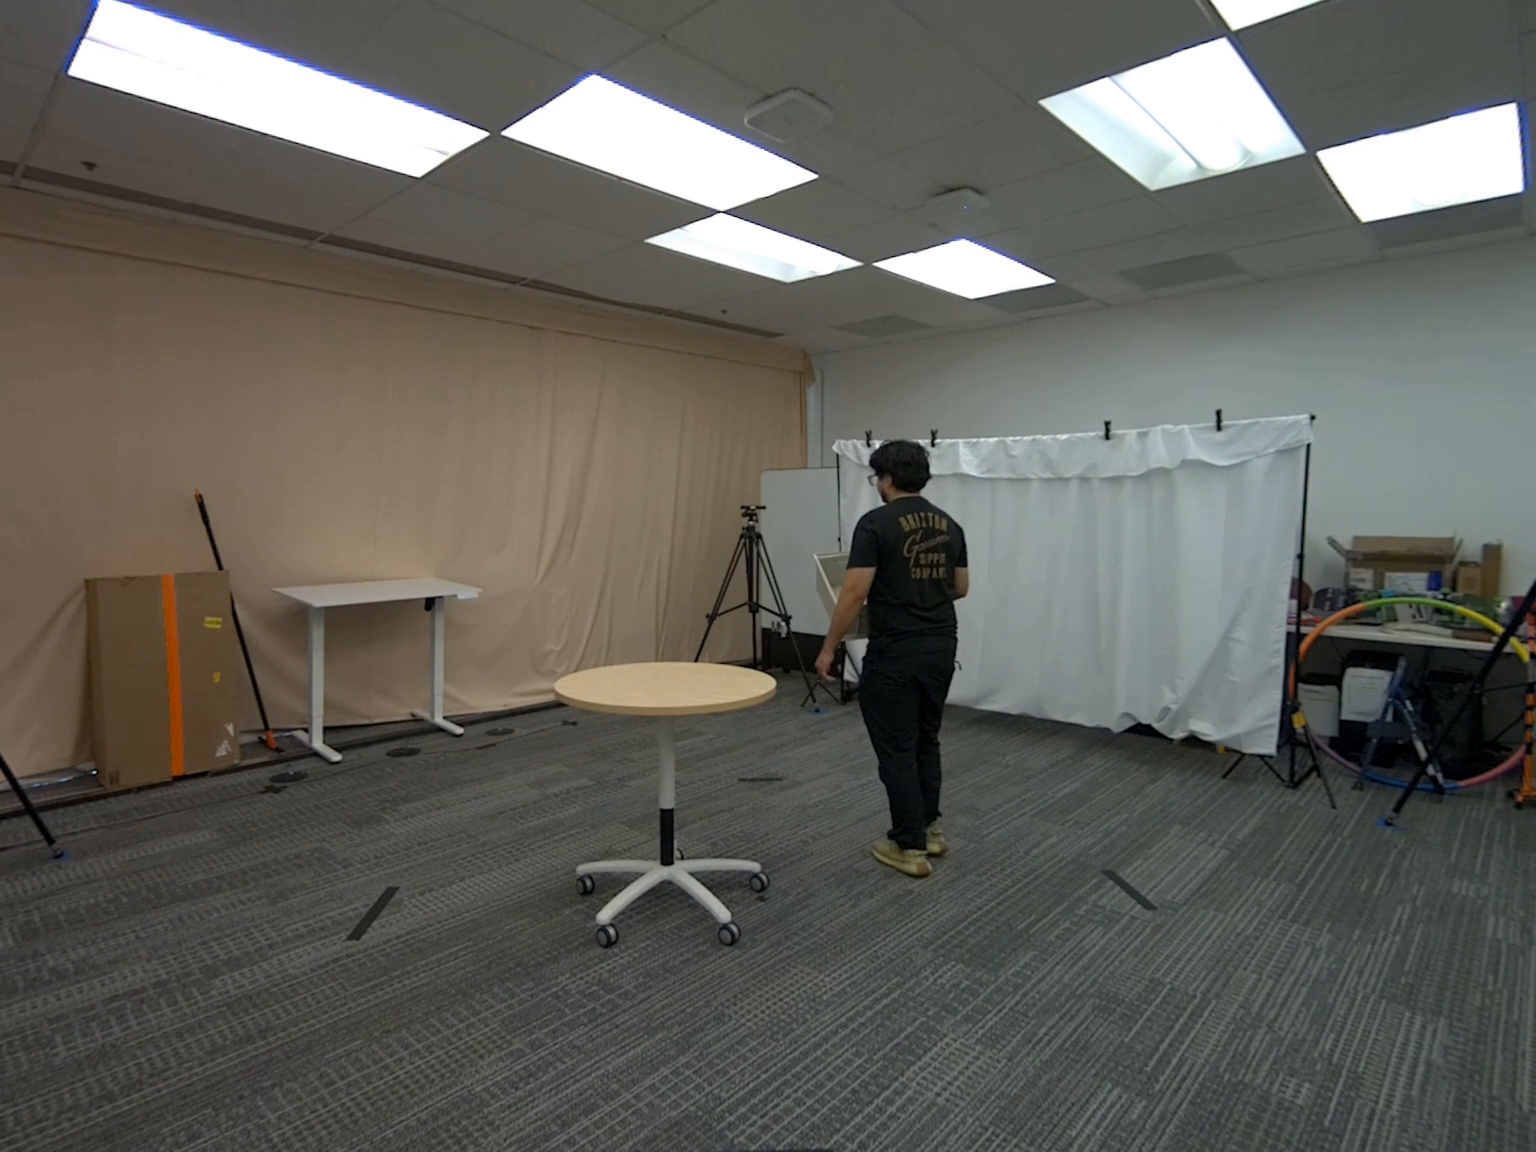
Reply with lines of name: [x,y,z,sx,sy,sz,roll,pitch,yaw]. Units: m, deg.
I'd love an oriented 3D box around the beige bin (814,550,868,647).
beige bin: [0.437,0.072,3.655,0.375,0.185,0.433,-8,33,-7]
